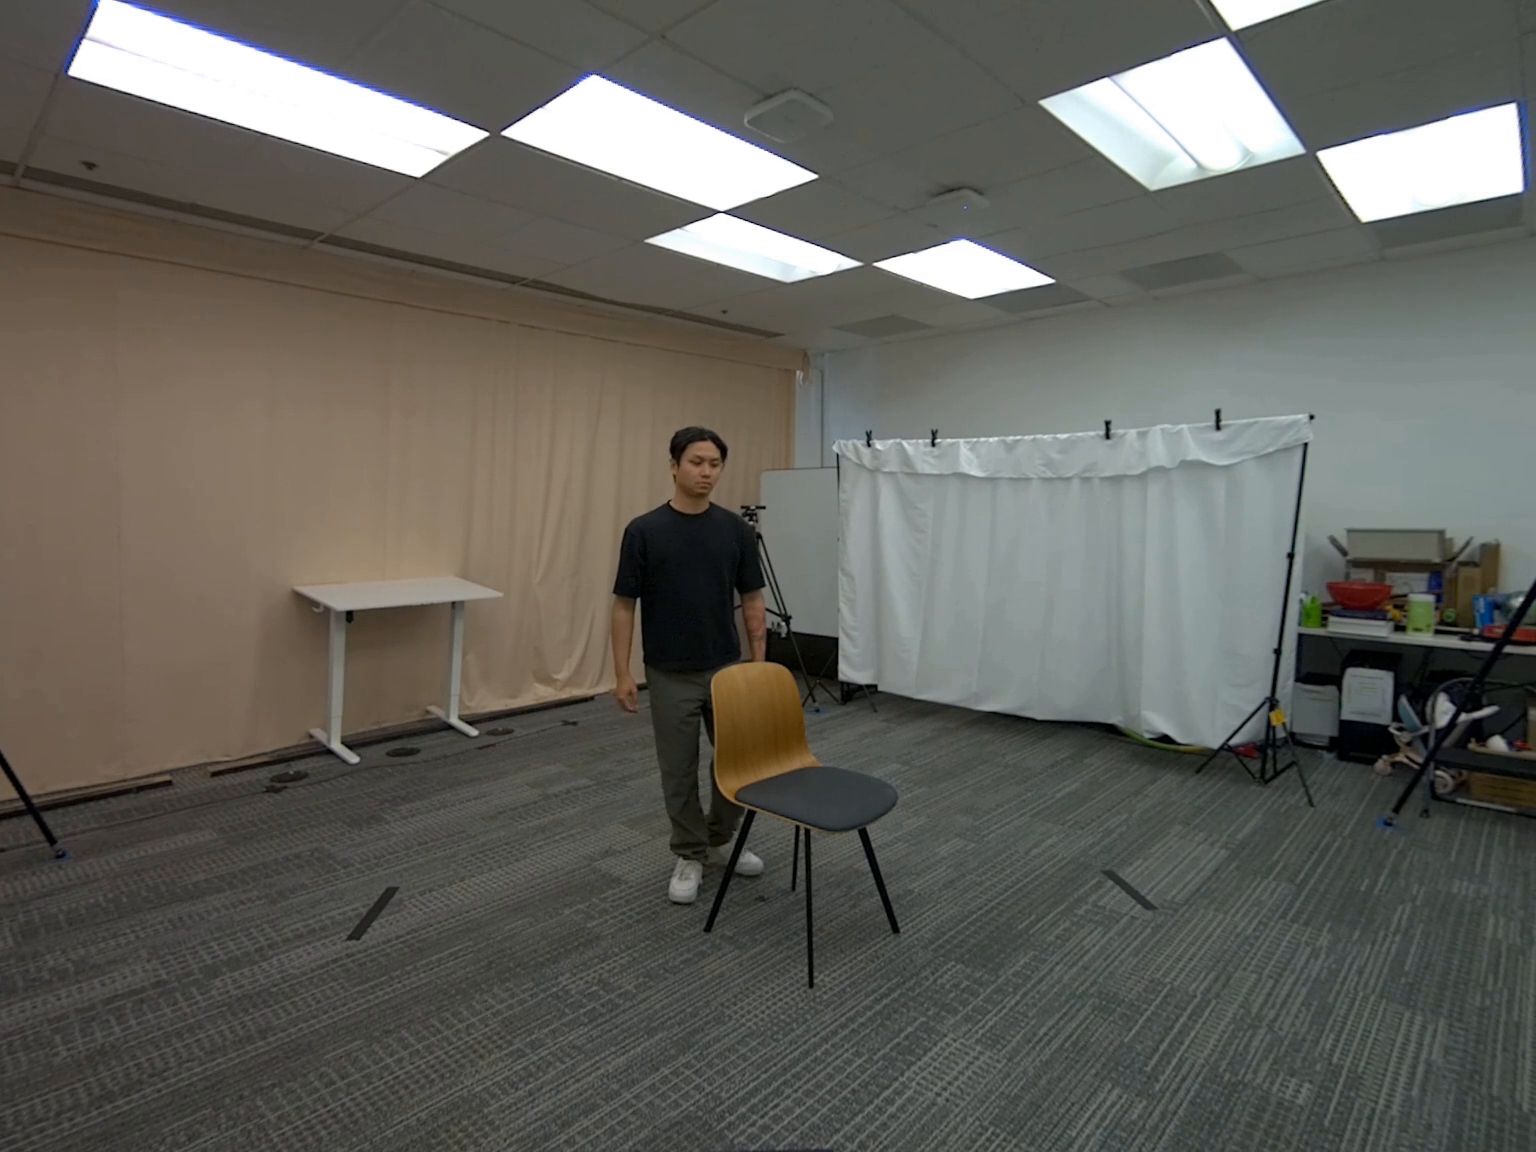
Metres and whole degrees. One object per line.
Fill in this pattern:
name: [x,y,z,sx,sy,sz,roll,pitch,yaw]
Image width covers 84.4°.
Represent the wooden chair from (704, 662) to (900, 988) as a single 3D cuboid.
wooden chair: [0.126,0.741,2.705,0.539,0.877,0.463,-3,0,44]
